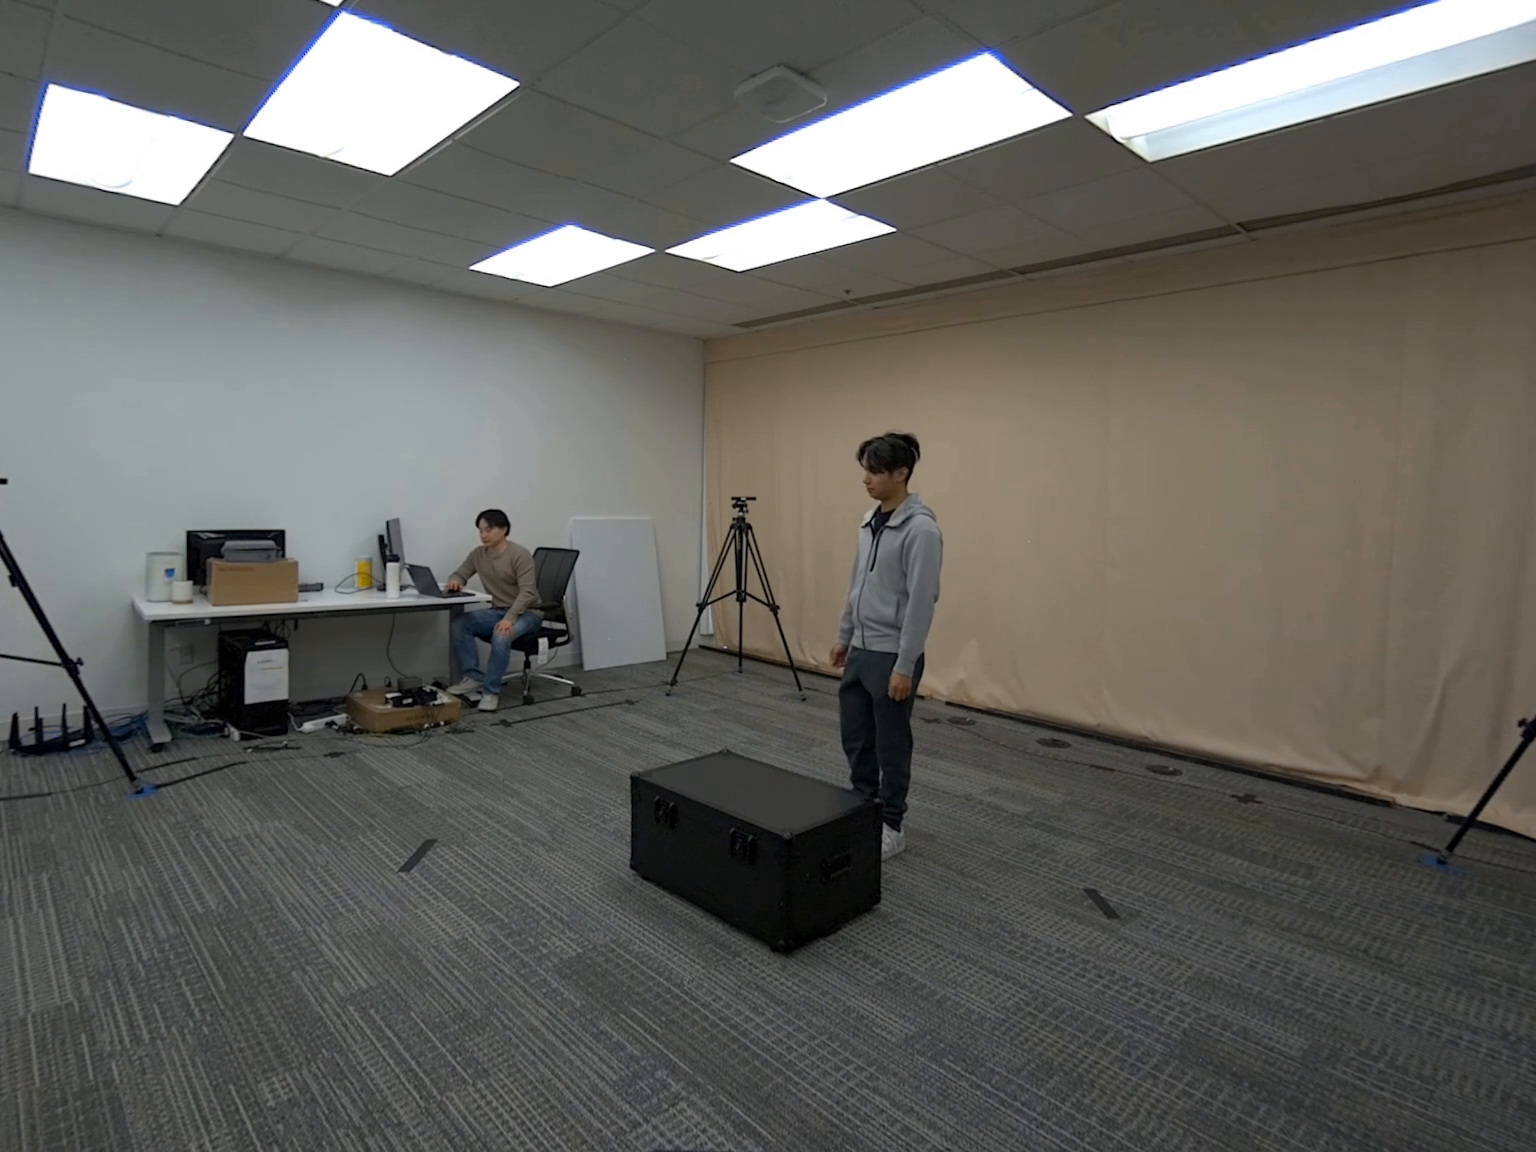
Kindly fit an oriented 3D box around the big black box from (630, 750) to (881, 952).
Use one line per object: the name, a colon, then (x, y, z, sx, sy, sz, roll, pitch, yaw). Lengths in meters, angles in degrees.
big black box: (-0.087, 0.928, 2.996, 0.884, 0.395, 0.509, 7, 7, 44)
